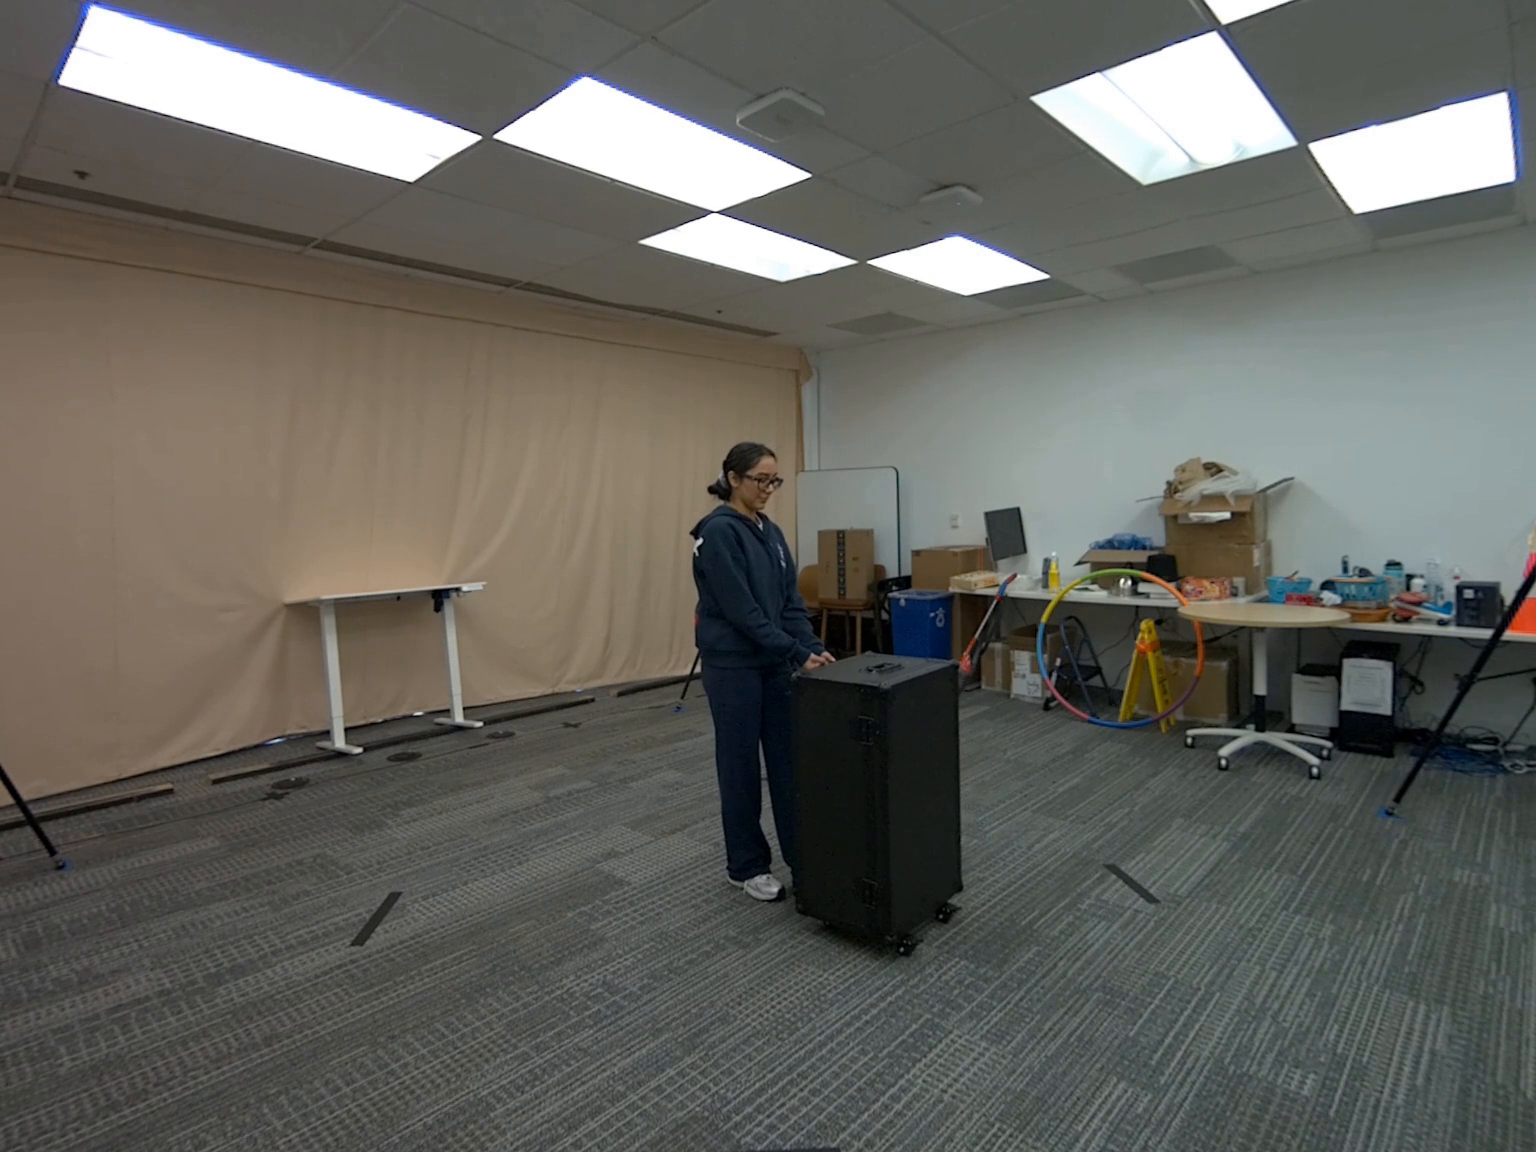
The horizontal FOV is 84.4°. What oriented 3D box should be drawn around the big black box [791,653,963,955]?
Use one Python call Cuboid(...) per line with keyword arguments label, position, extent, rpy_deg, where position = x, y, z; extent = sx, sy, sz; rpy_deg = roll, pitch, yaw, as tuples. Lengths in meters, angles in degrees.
Cuboid(label="big black box", position=(0.365, 0.729, 2.779), extent=(0.409, 0.860, 0.506), rpy_deg=(0, 3, 40))
